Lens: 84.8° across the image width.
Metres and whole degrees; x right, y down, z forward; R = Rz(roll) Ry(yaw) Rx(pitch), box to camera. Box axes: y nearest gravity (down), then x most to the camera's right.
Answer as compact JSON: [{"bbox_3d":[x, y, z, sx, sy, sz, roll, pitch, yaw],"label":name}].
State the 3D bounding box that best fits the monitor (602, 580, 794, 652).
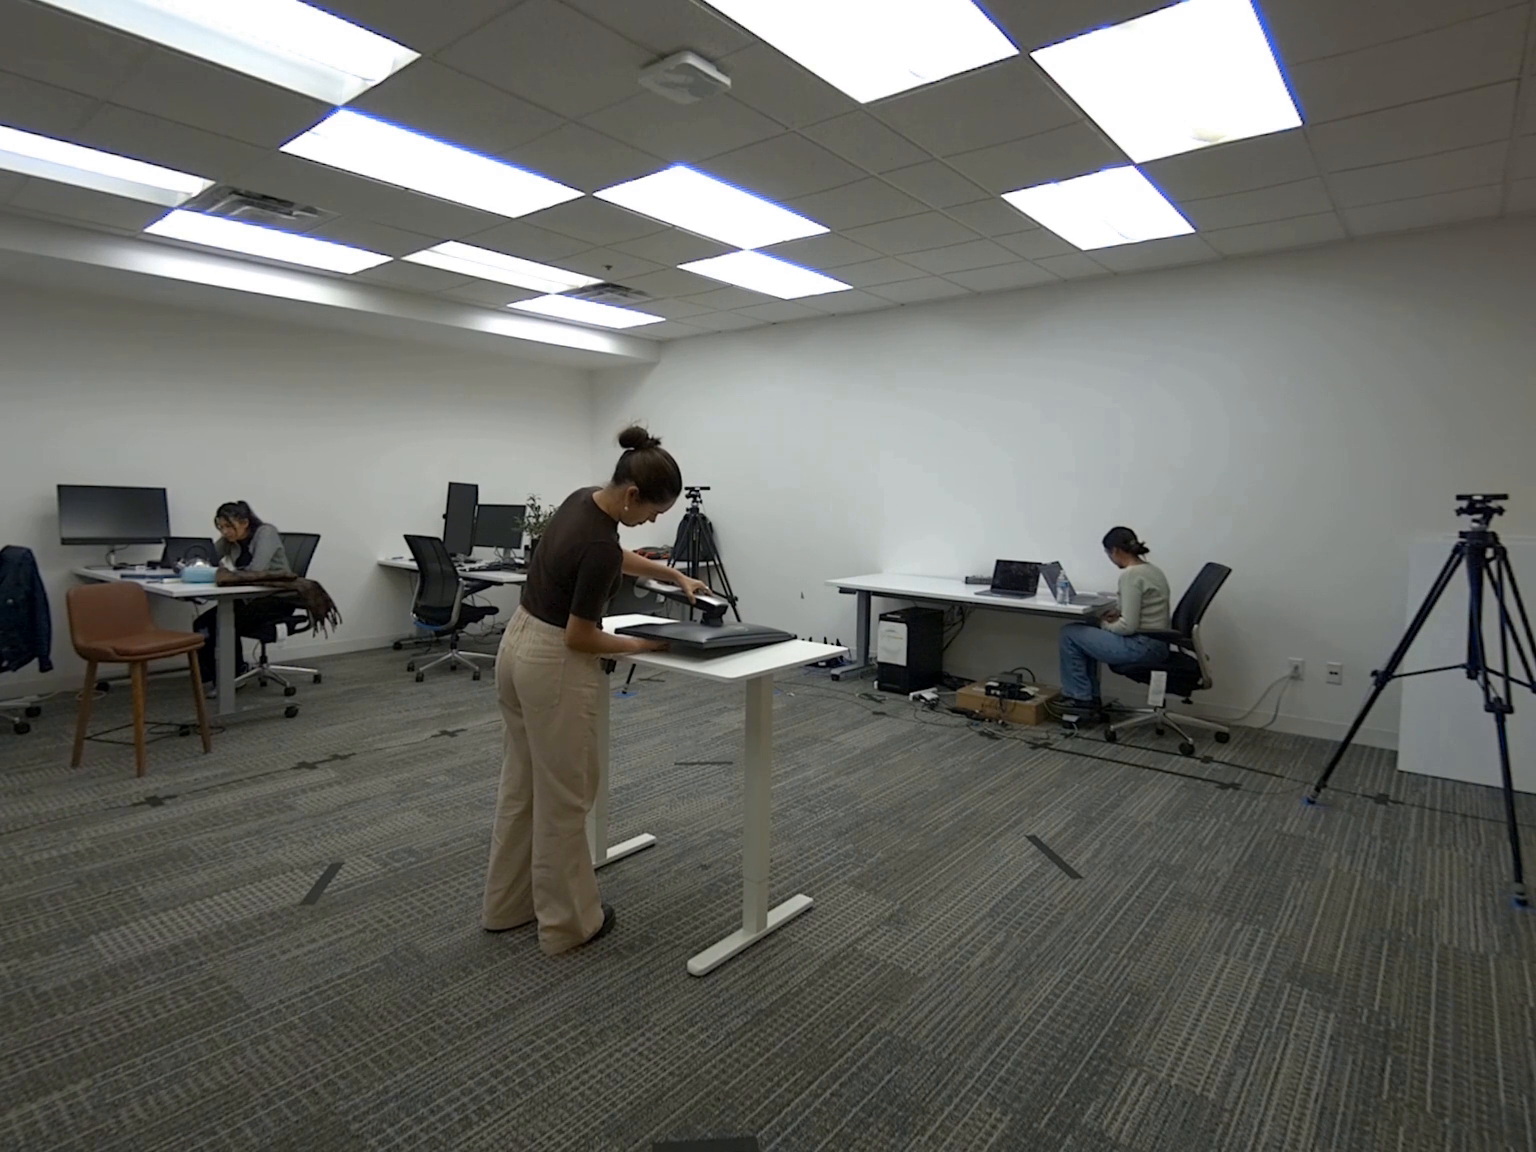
[{"bbox_3d":[-0.265,0.133,2.827,0.543,0.185,0.523,23,15,34],"label":"monitor"}]
